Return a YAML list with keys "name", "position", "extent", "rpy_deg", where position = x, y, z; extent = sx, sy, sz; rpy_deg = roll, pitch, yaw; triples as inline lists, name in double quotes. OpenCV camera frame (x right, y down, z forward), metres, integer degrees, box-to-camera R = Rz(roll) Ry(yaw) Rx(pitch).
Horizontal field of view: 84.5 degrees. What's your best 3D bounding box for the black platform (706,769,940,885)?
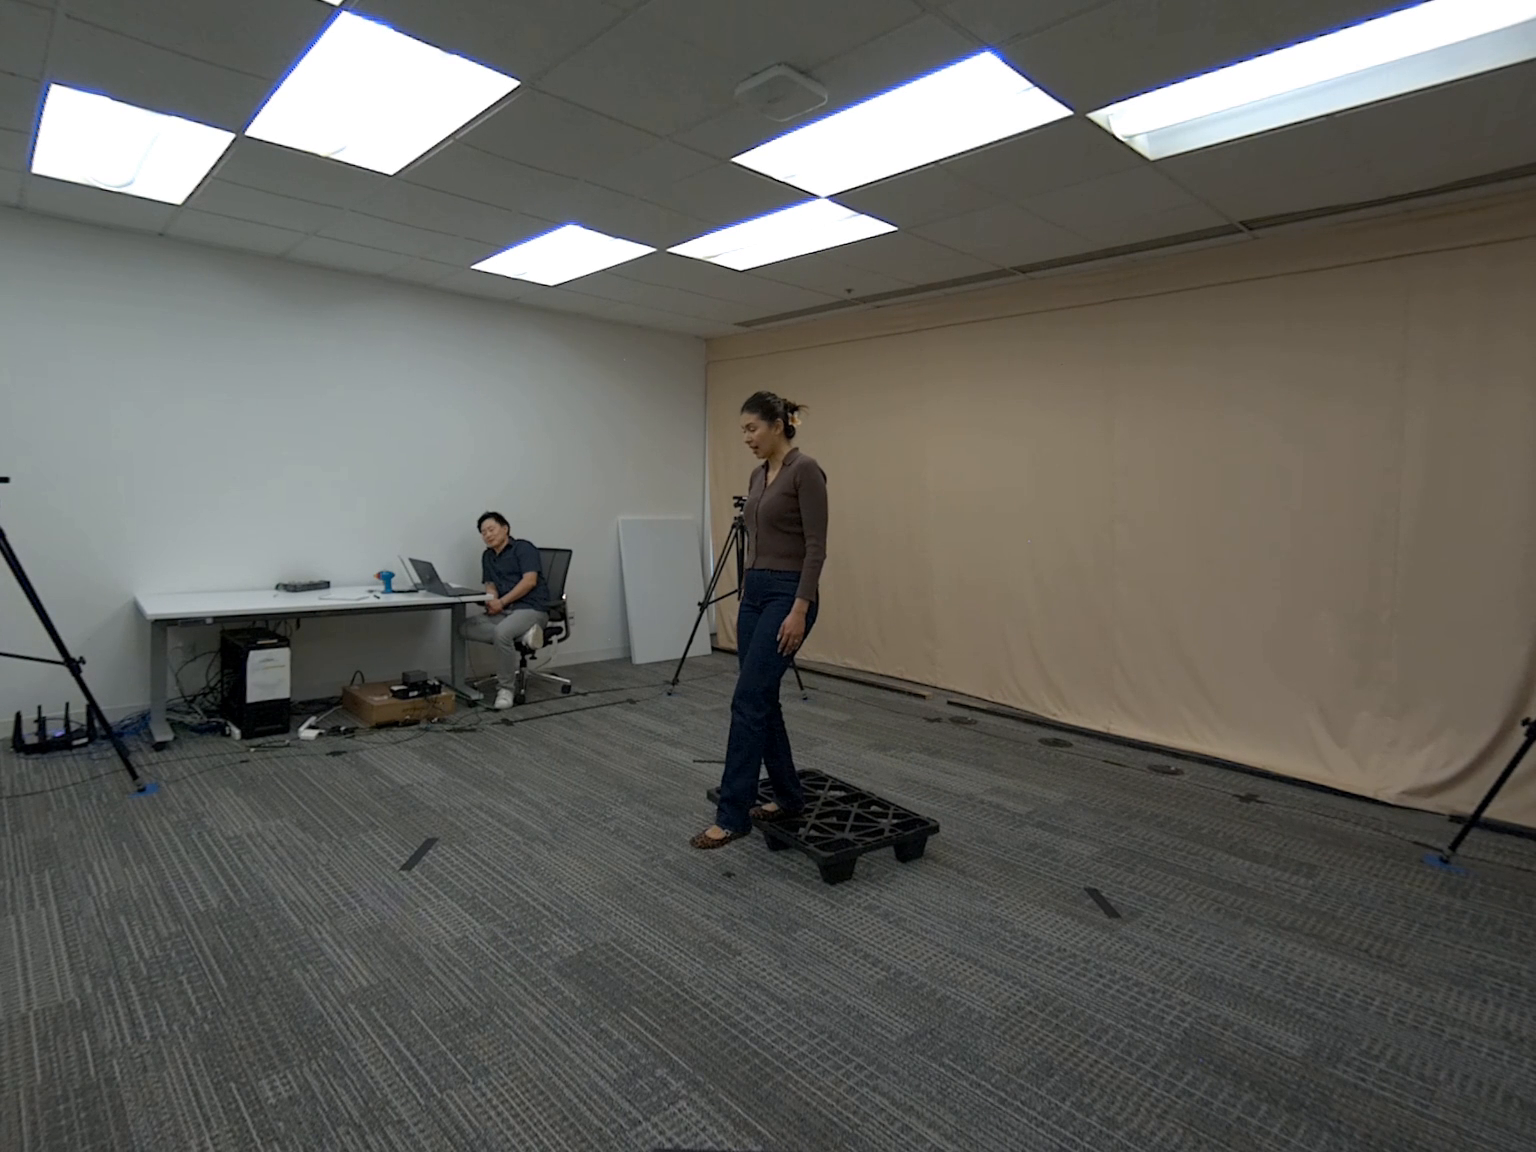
- name: "black platform"
  position: [0.197, 1.012, 3.459]
  extent: [0.592, 0.143, 0.825]
  rpy_deg: [-3, 7, -35]
